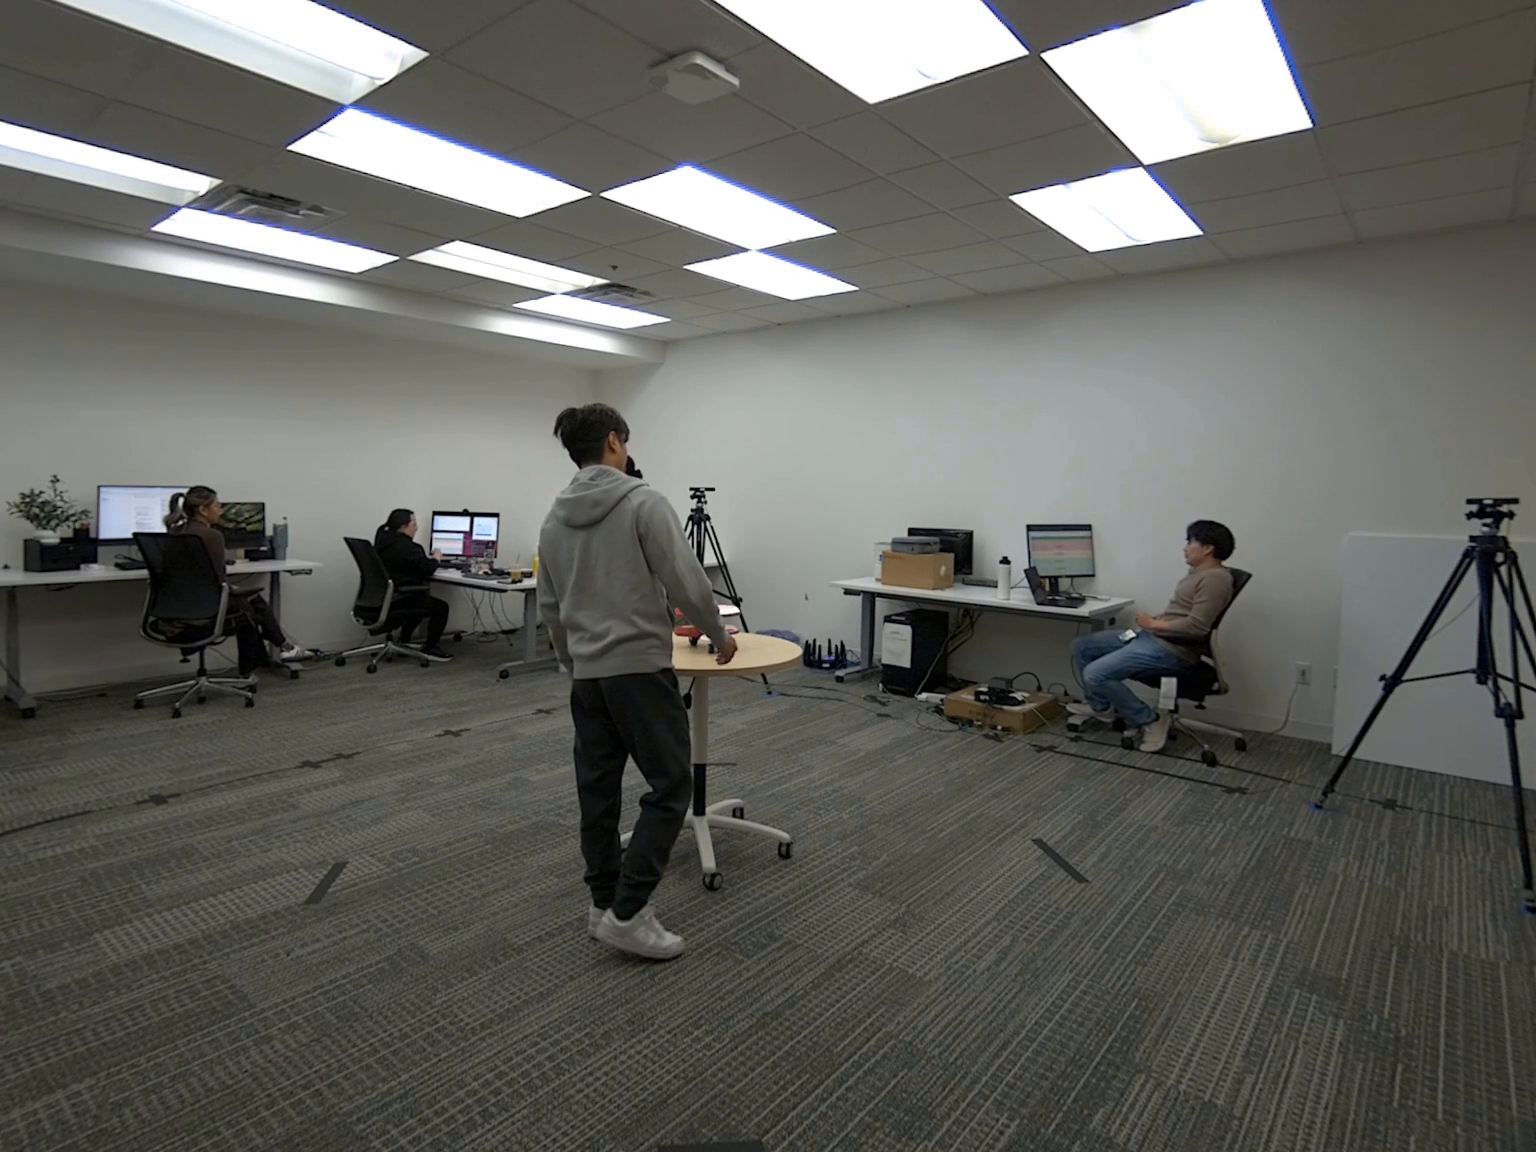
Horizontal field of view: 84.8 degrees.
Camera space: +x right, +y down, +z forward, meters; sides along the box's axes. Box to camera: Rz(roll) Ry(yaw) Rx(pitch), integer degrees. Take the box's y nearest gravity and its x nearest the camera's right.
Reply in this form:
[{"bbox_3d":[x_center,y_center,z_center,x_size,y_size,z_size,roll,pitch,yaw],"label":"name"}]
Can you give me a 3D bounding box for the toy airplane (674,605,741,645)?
[{"bbox_3d":[-0.212,0.193,3.224,0.243,0.156,0.268,-2,5,-43],"label":"toy airplane"}]
